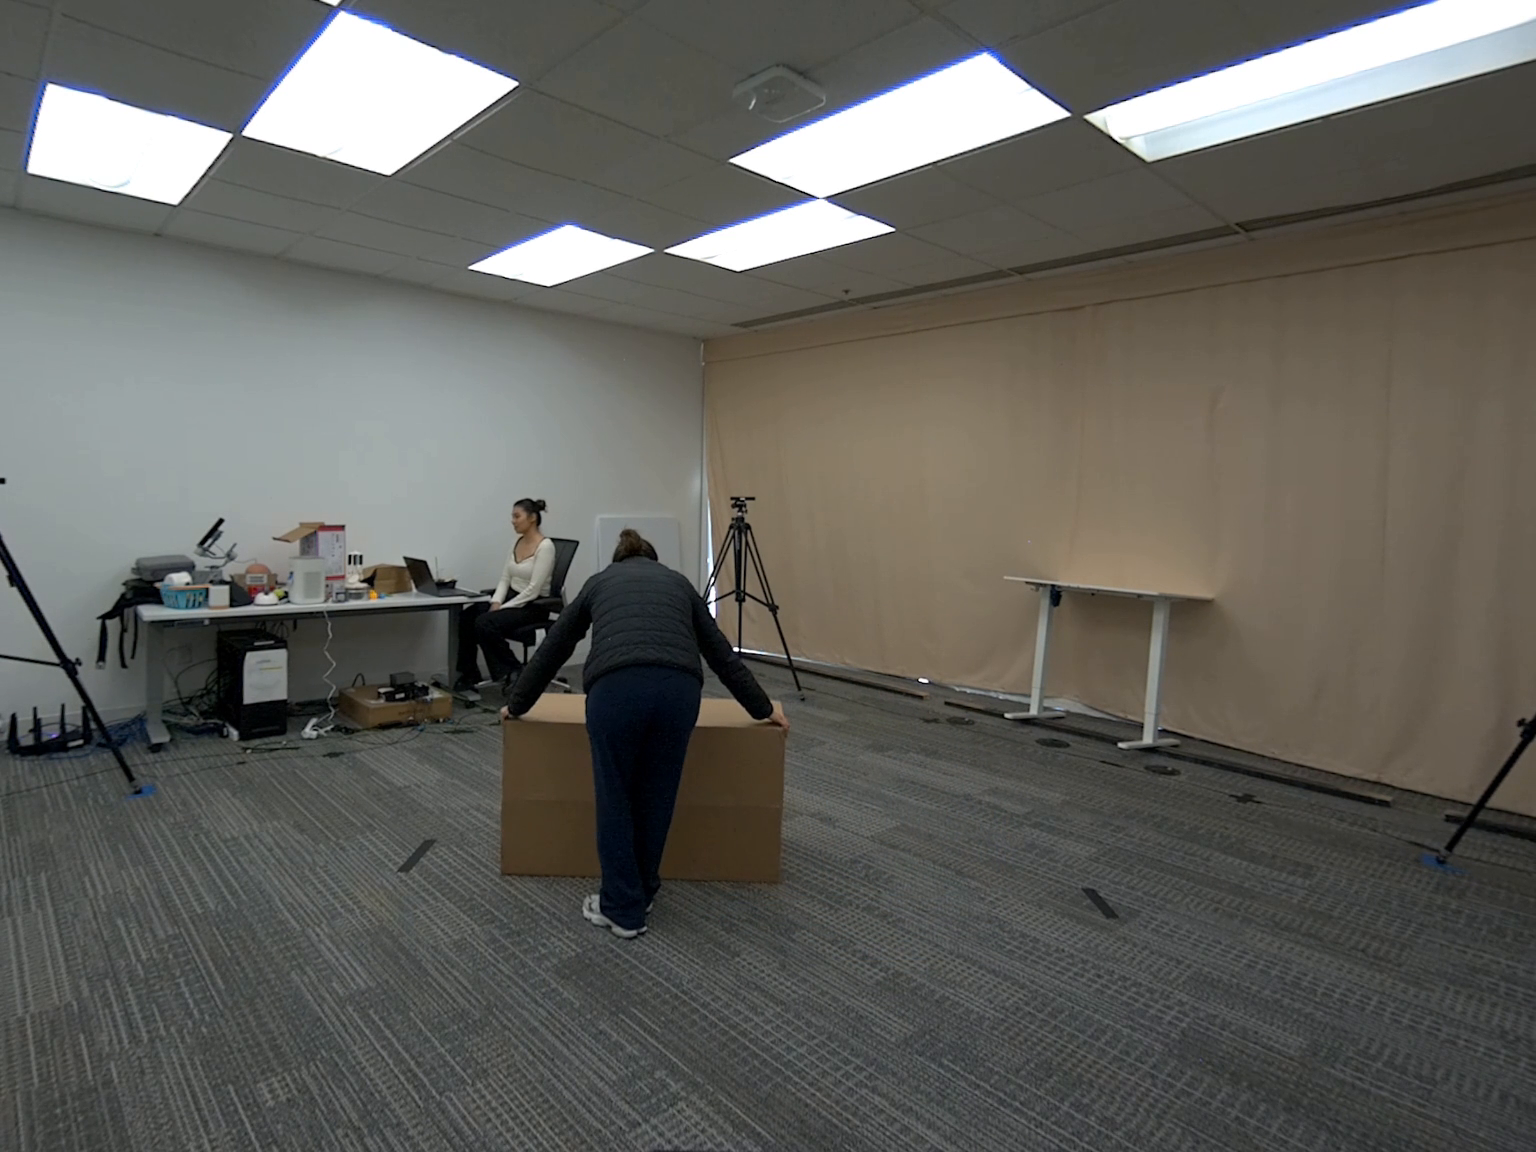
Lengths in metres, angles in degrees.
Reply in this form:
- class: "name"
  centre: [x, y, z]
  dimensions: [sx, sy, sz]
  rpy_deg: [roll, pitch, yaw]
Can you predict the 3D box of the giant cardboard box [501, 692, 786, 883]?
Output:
- class: "giant cardboard box"
  centre: [-0.459, 0.797, 3.244]
  dimensions: [1.027, 0.583, 0.448]
  rpy_deg: [2, 3, -1]
